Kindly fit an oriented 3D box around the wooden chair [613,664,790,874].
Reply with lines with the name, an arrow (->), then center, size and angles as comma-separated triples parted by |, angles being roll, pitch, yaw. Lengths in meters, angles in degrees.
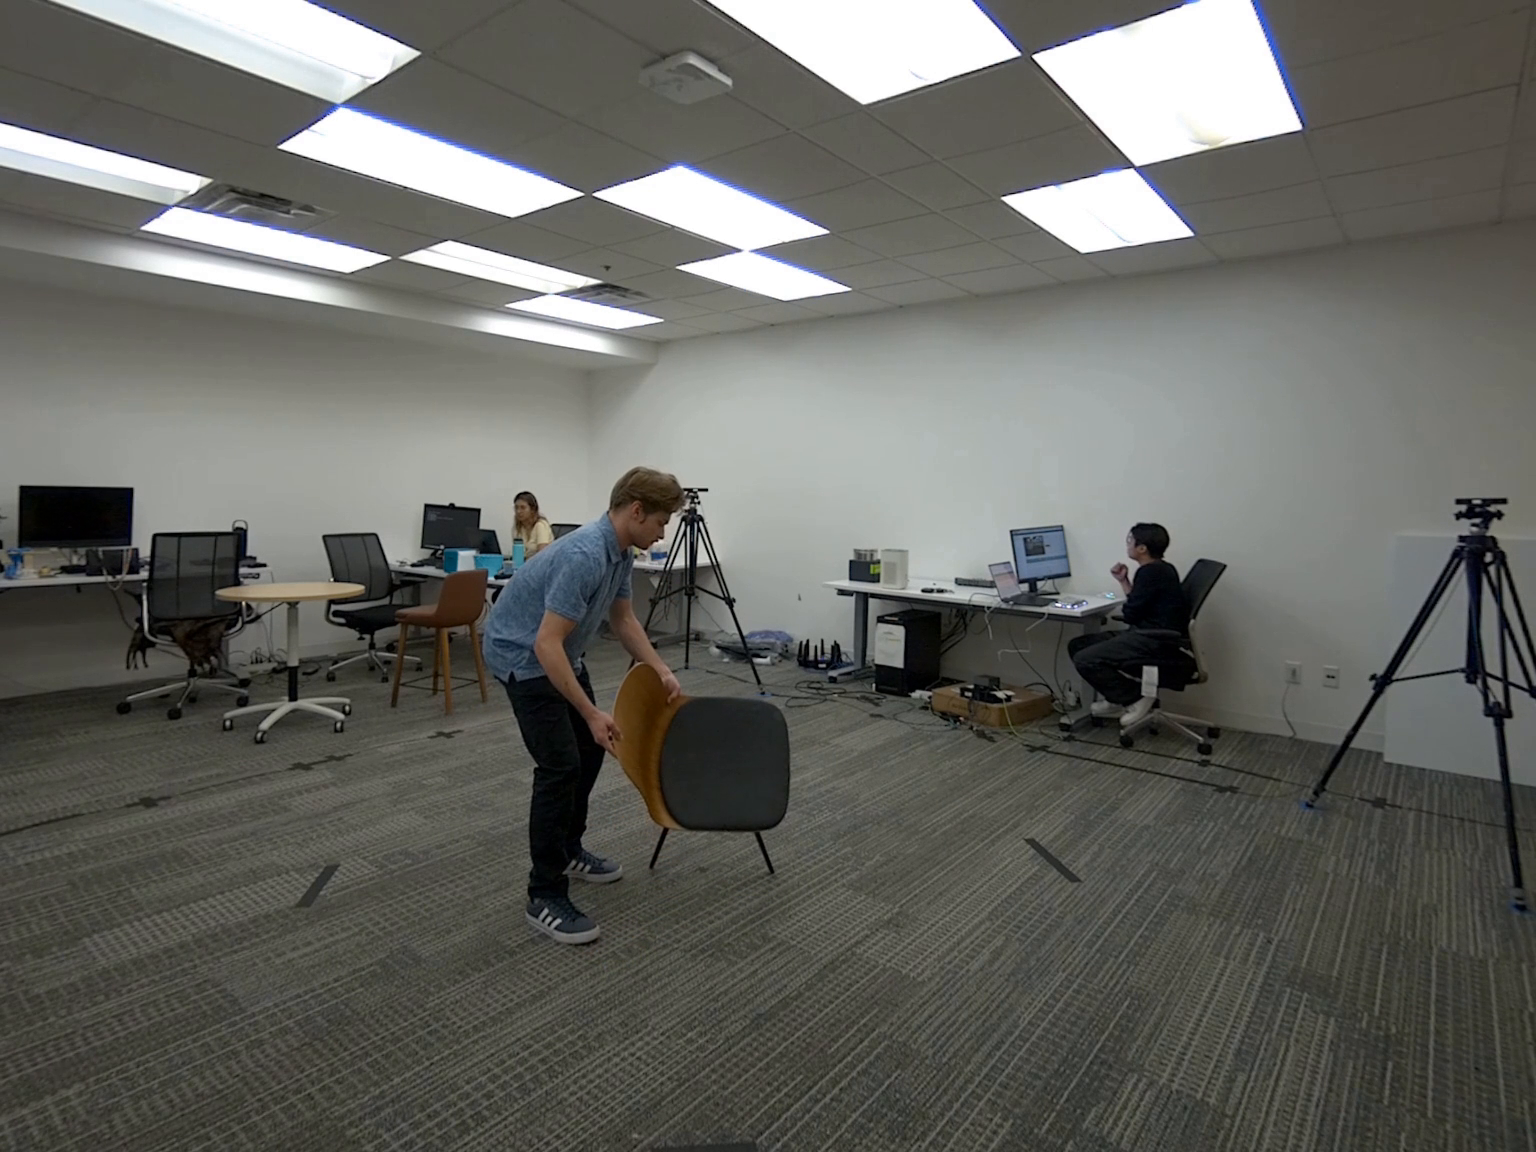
wooden chair -> -0.198, 0.653, 2.899 | 0.526, 0.491, 0.849 | -1, -37, 5
